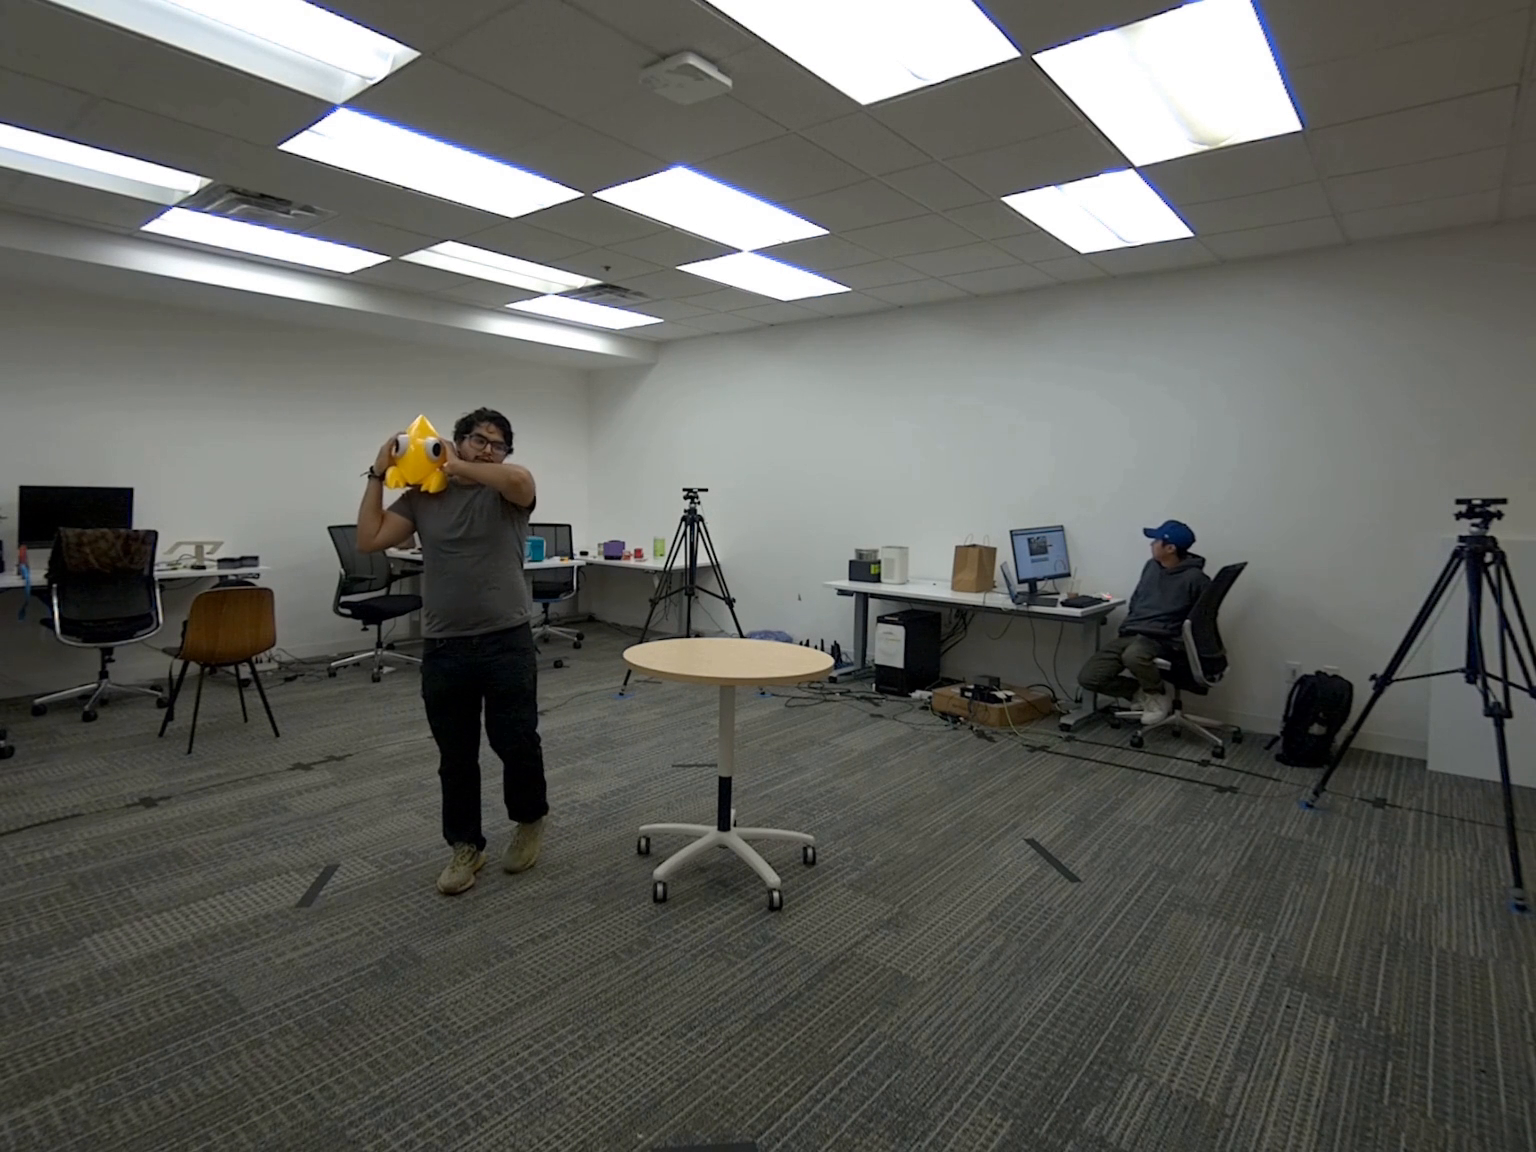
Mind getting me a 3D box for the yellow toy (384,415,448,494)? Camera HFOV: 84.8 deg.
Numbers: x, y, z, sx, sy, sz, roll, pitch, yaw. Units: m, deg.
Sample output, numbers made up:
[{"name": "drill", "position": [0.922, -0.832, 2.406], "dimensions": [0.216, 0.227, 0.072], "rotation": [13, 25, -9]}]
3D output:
[{"name": "yellow toy", "position": [-1.206, -0.427, 2.908], "dimensions": [0.202, 0.227, 0.198], "rotation": [4, 20, -12]}]
